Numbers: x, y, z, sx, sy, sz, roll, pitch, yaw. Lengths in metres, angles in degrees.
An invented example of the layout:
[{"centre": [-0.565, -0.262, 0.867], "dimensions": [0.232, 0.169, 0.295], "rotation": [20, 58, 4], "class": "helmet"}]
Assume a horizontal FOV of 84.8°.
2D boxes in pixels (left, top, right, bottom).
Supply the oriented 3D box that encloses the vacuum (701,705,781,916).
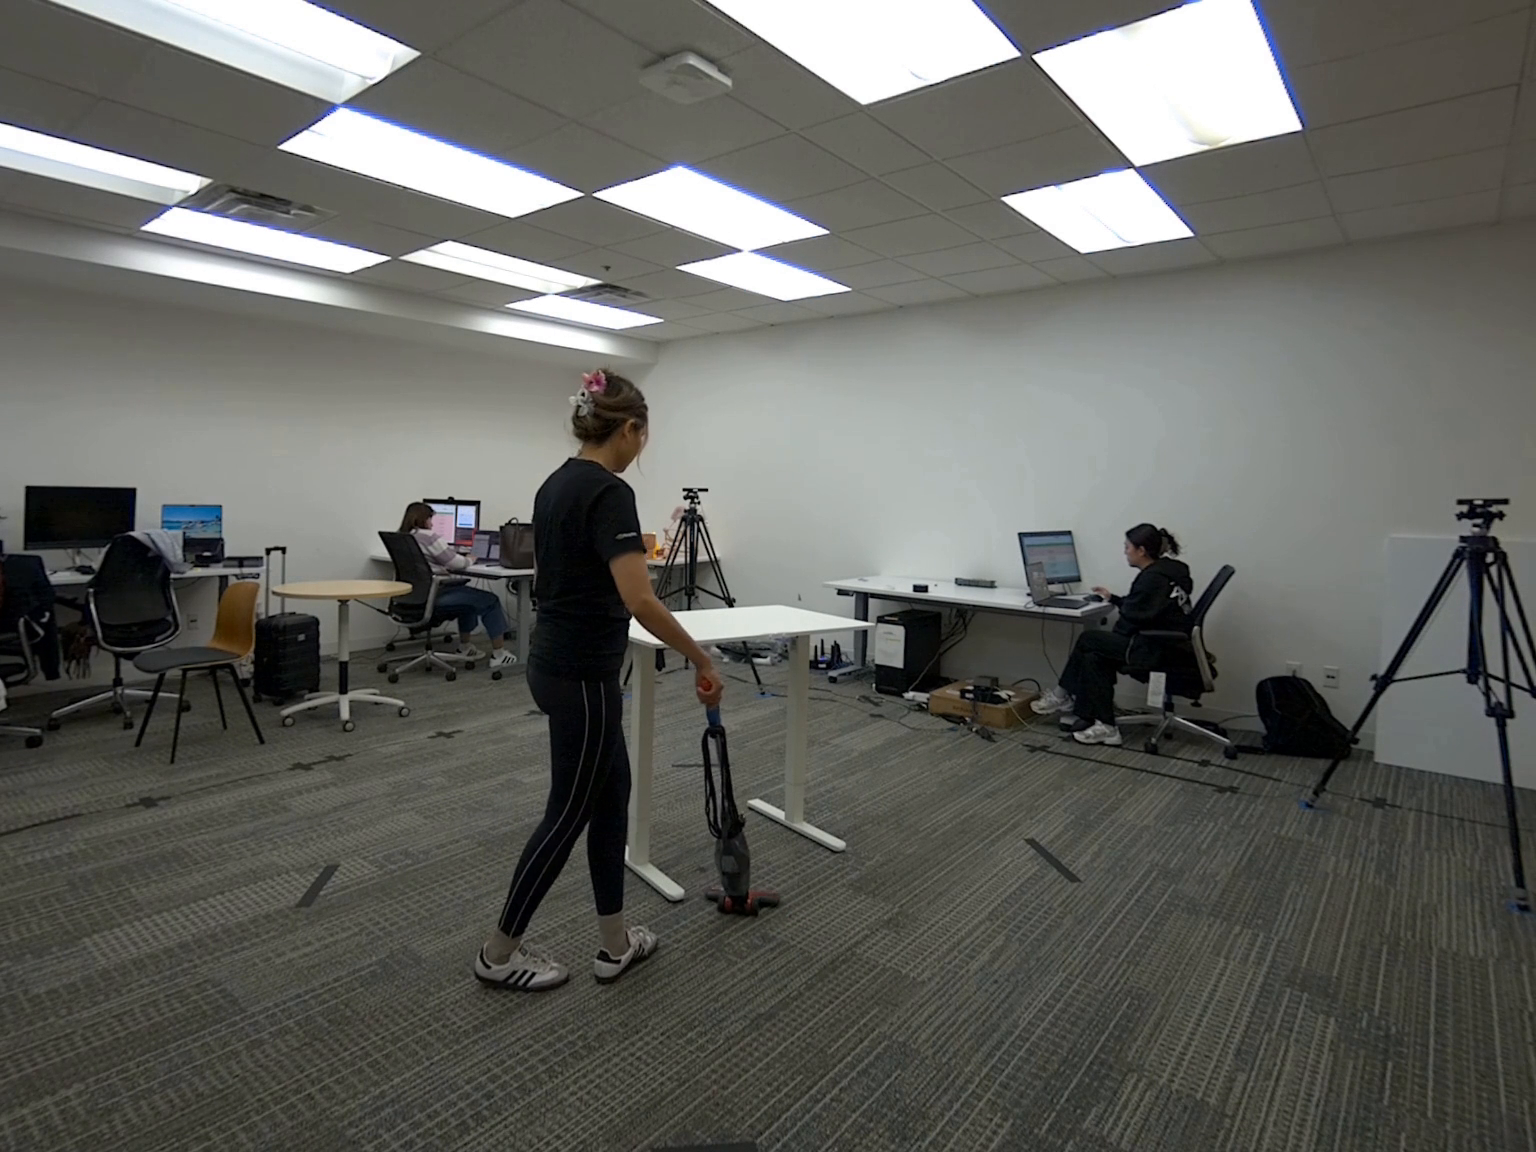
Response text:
[{"centre": [-0.139, 0.688, 2.534], "dimensions": [0.256, 1.017, 0.146], "rotation": [5, 38, 13], "class": "vacuum"}]
